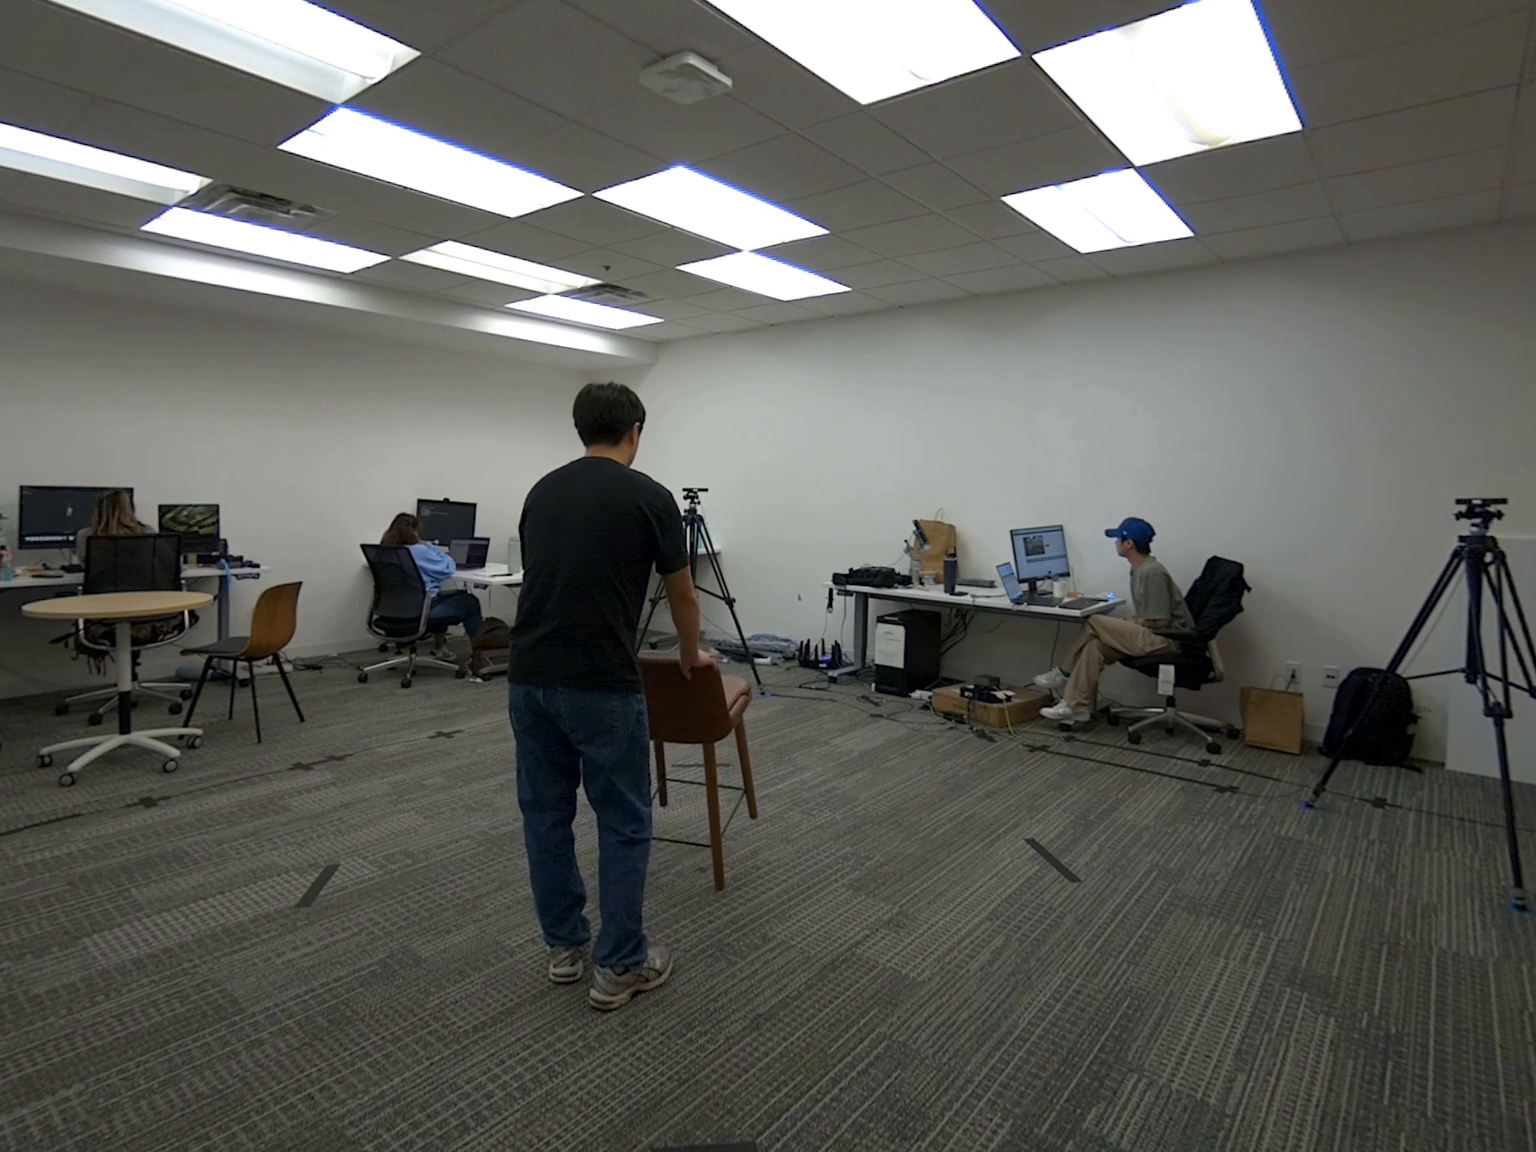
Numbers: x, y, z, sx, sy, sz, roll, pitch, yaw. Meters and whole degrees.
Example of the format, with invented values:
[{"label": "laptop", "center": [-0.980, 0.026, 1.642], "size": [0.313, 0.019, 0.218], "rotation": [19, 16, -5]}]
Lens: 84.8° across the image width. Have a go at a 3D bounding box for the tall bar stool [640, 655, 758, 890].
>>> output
[{"label": "tall bar stool", "center": [-0.316, 0.600, 3.076], "size": [0.465, 0.874, 0.467], "rotation": [3, 19, 16]}]
